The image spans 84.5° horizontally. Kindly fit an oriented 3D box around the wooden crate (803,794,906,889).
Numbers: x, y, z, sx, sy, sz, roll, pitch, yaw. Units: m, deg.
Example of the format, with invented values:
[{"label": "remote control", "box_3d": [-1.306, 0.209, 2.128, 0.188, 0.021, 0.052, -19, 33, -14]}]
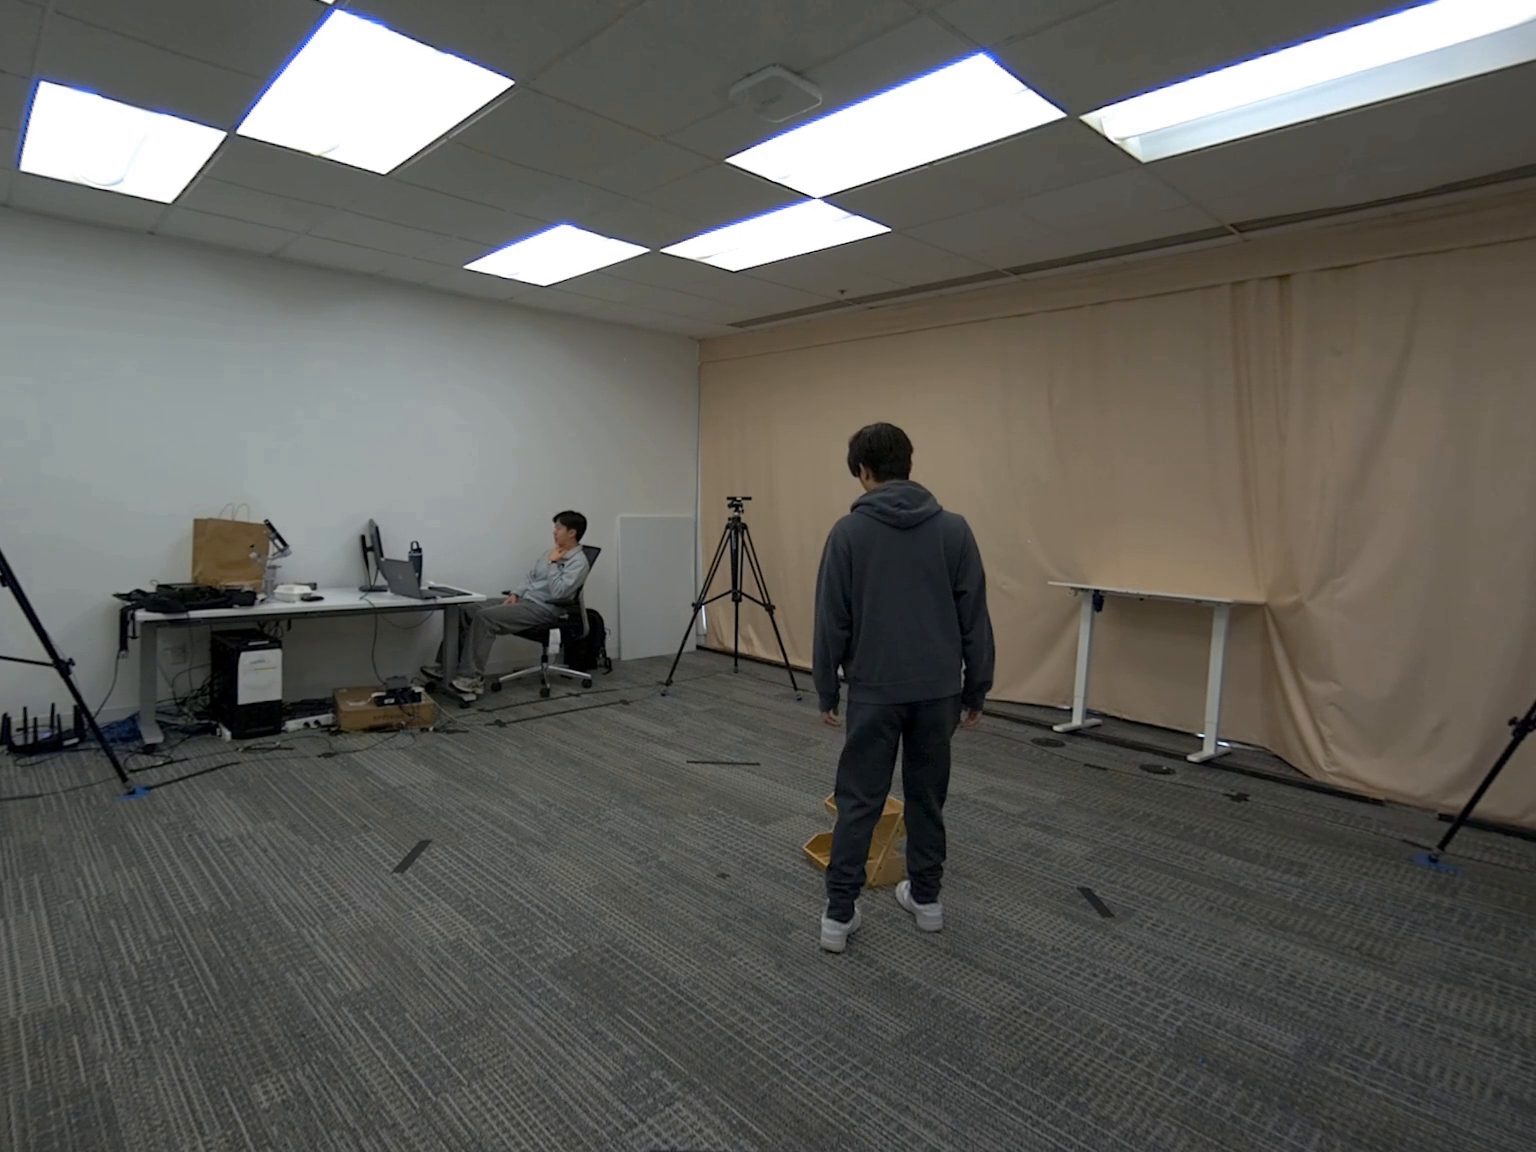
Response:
[{"label": "wooden crate", "box_3d": [0.330, 0.974, 3.182, 0.296, 0.273, 0.331, 0, 4, -27]}]
